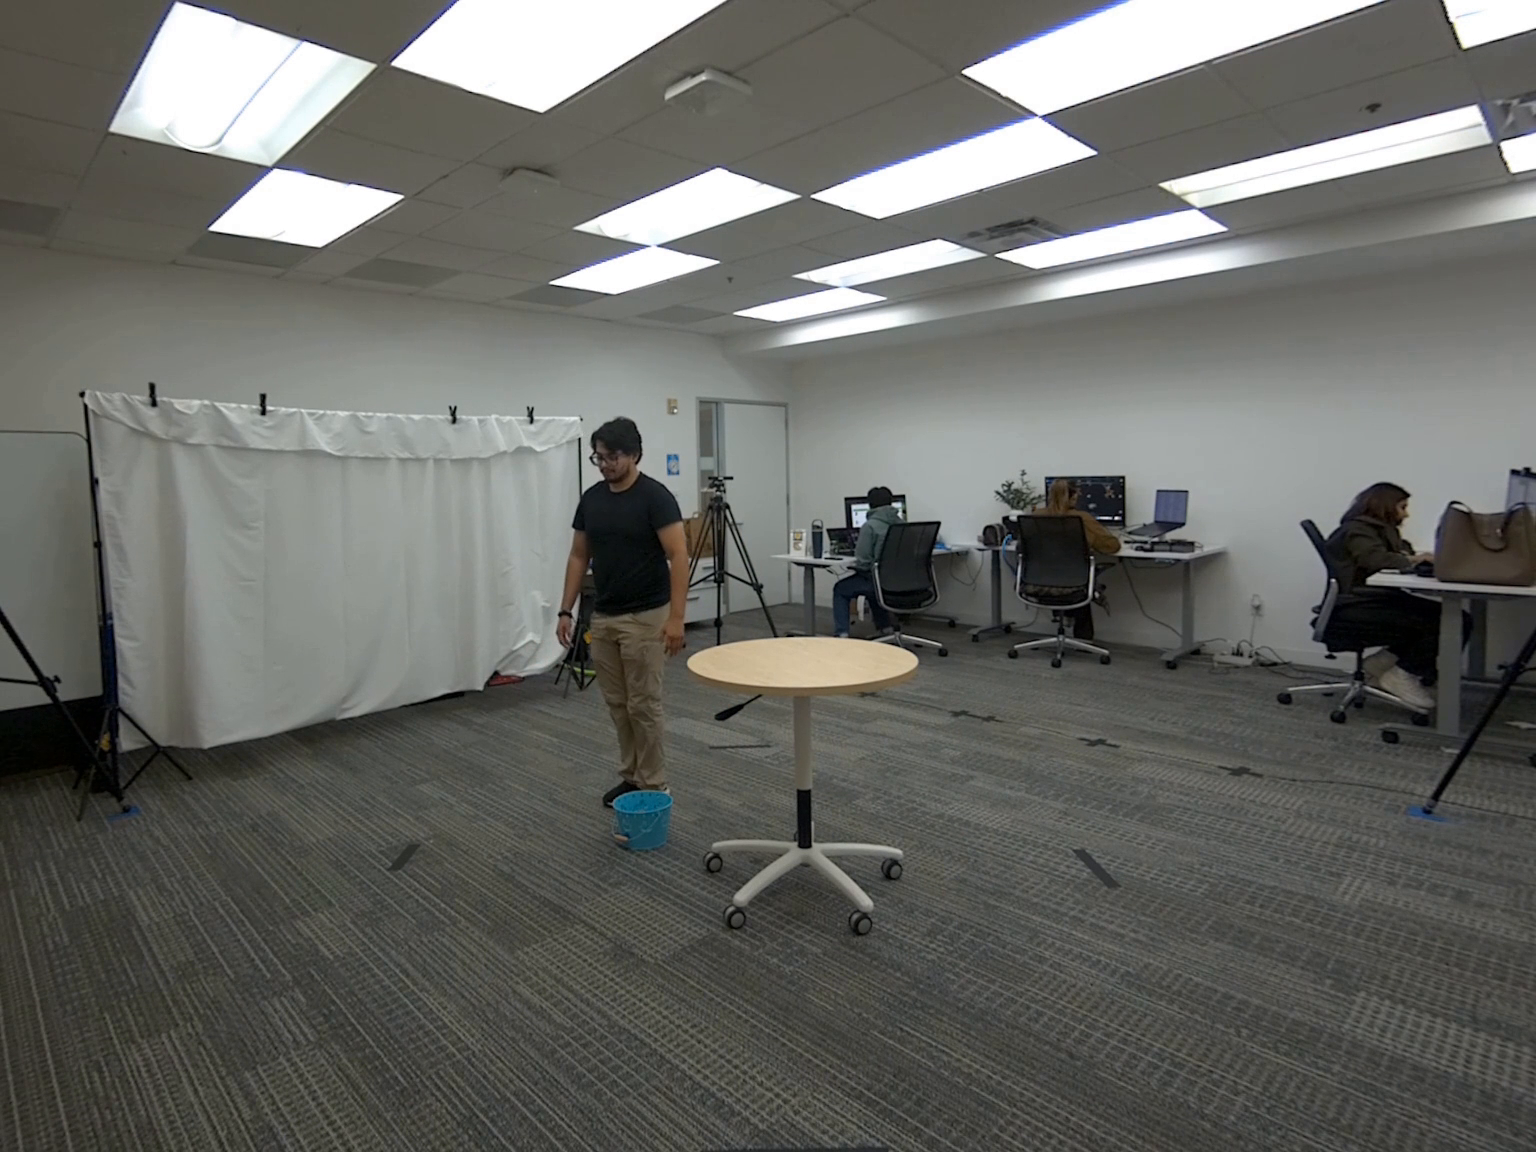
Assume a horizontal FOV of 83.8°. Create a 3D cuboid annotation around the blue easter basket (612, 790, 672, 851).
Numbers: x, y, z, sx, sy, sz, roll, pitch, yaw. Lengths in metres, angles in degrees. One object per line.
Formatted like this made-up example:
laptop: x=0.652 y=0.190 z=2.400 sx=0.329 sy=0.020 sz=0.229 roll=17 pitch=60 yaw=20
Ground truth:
blue easter basket: x=-0.485 y=0.945 z=3.304 sx=0.243 sy=0.155 sz=0.245 roll=-1 pitch=5 yaw=-2
